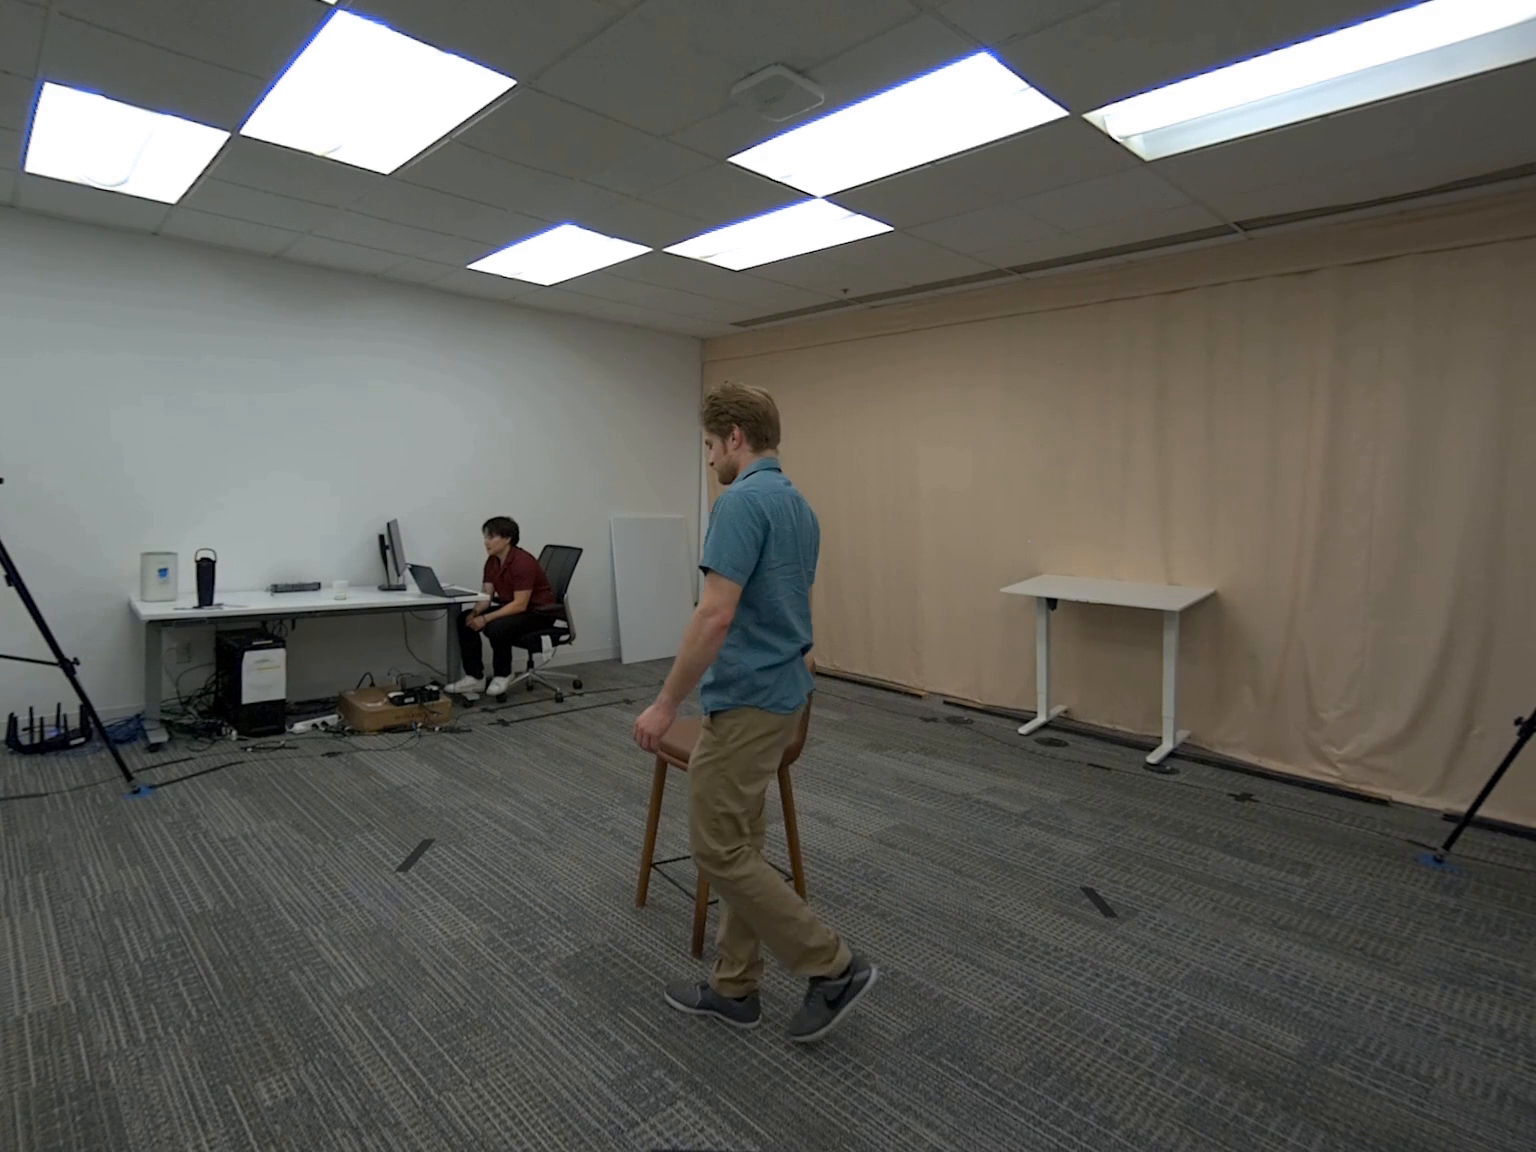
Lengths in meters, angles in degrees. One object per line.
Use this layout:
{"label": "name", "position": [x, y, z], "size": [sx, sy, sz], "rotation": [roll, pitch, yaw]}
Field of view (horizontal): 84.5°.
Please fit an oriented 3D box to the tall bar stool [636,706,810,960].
{"label": "tall bar stool", "position": [-0.143, 0.698, 2.799], "size": [0.457, 0.888, 0.467], "rotation": [1, 2, -35]}
